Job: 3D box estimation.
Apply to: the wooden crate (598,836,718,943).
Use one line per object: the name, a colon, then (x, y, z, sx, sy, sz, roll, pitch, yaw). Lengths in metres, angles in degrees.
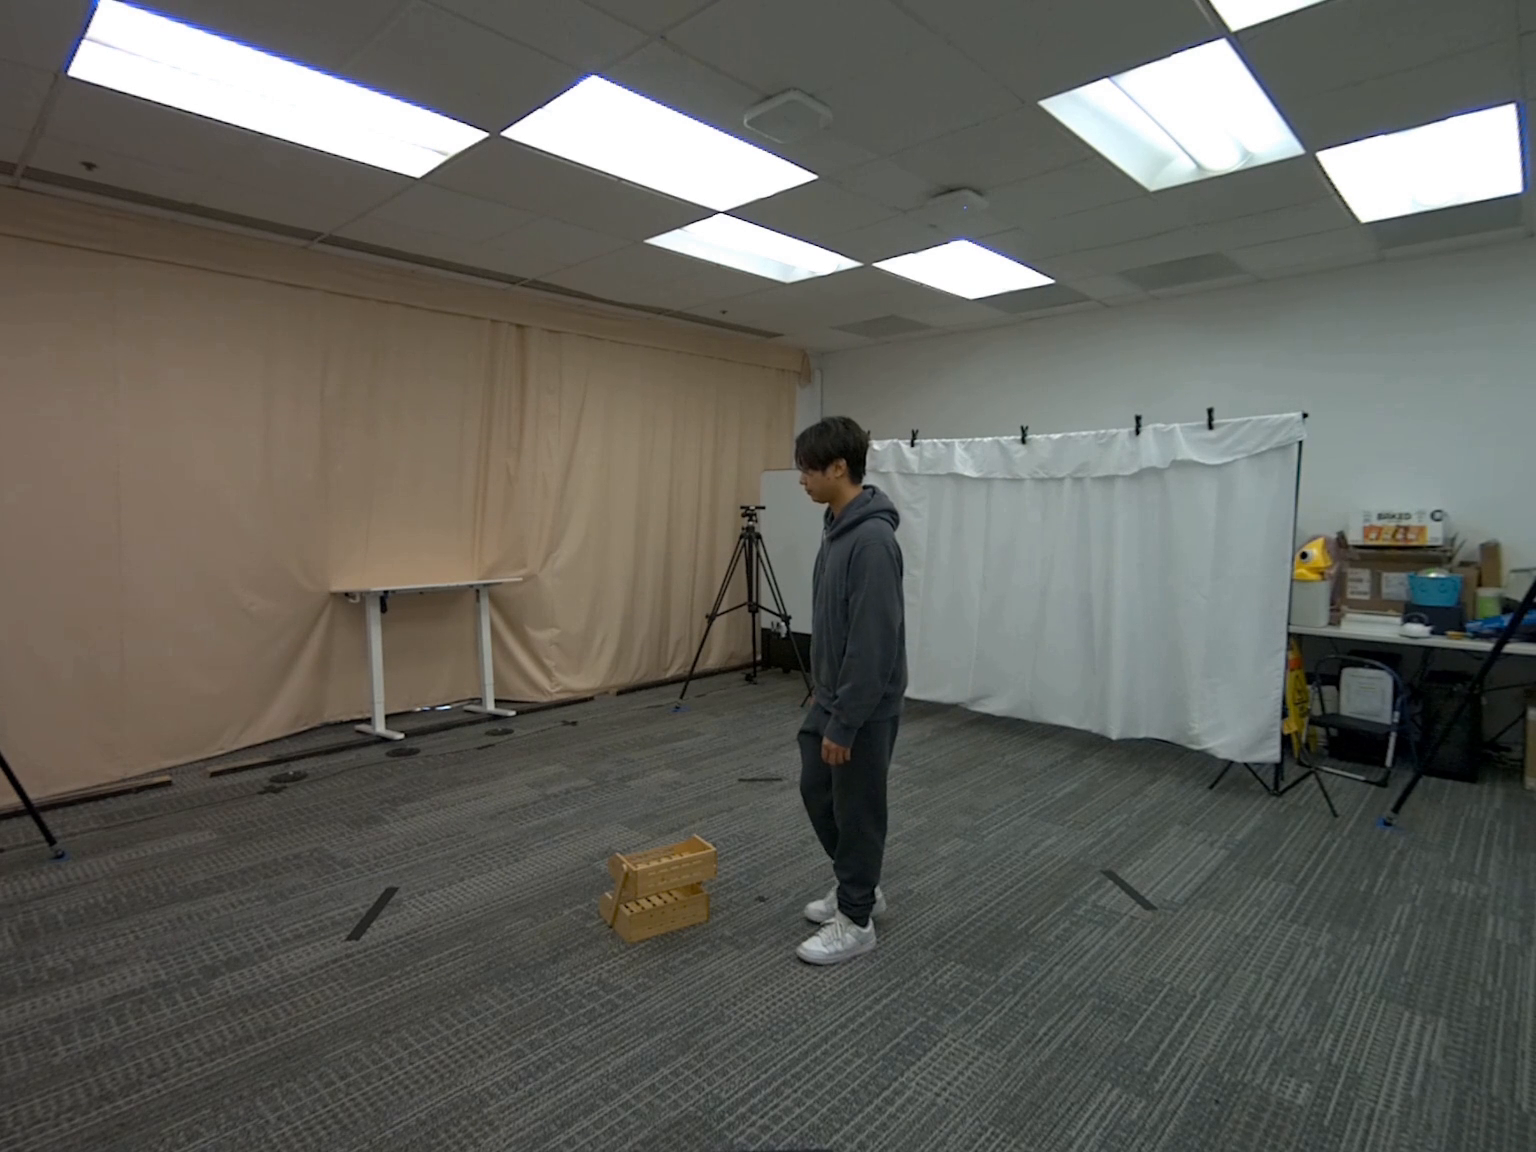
wooden crate: (-0.375, 1.028, 2.838, 0.315, 0.272, 0.311, -3, 5, -33)
